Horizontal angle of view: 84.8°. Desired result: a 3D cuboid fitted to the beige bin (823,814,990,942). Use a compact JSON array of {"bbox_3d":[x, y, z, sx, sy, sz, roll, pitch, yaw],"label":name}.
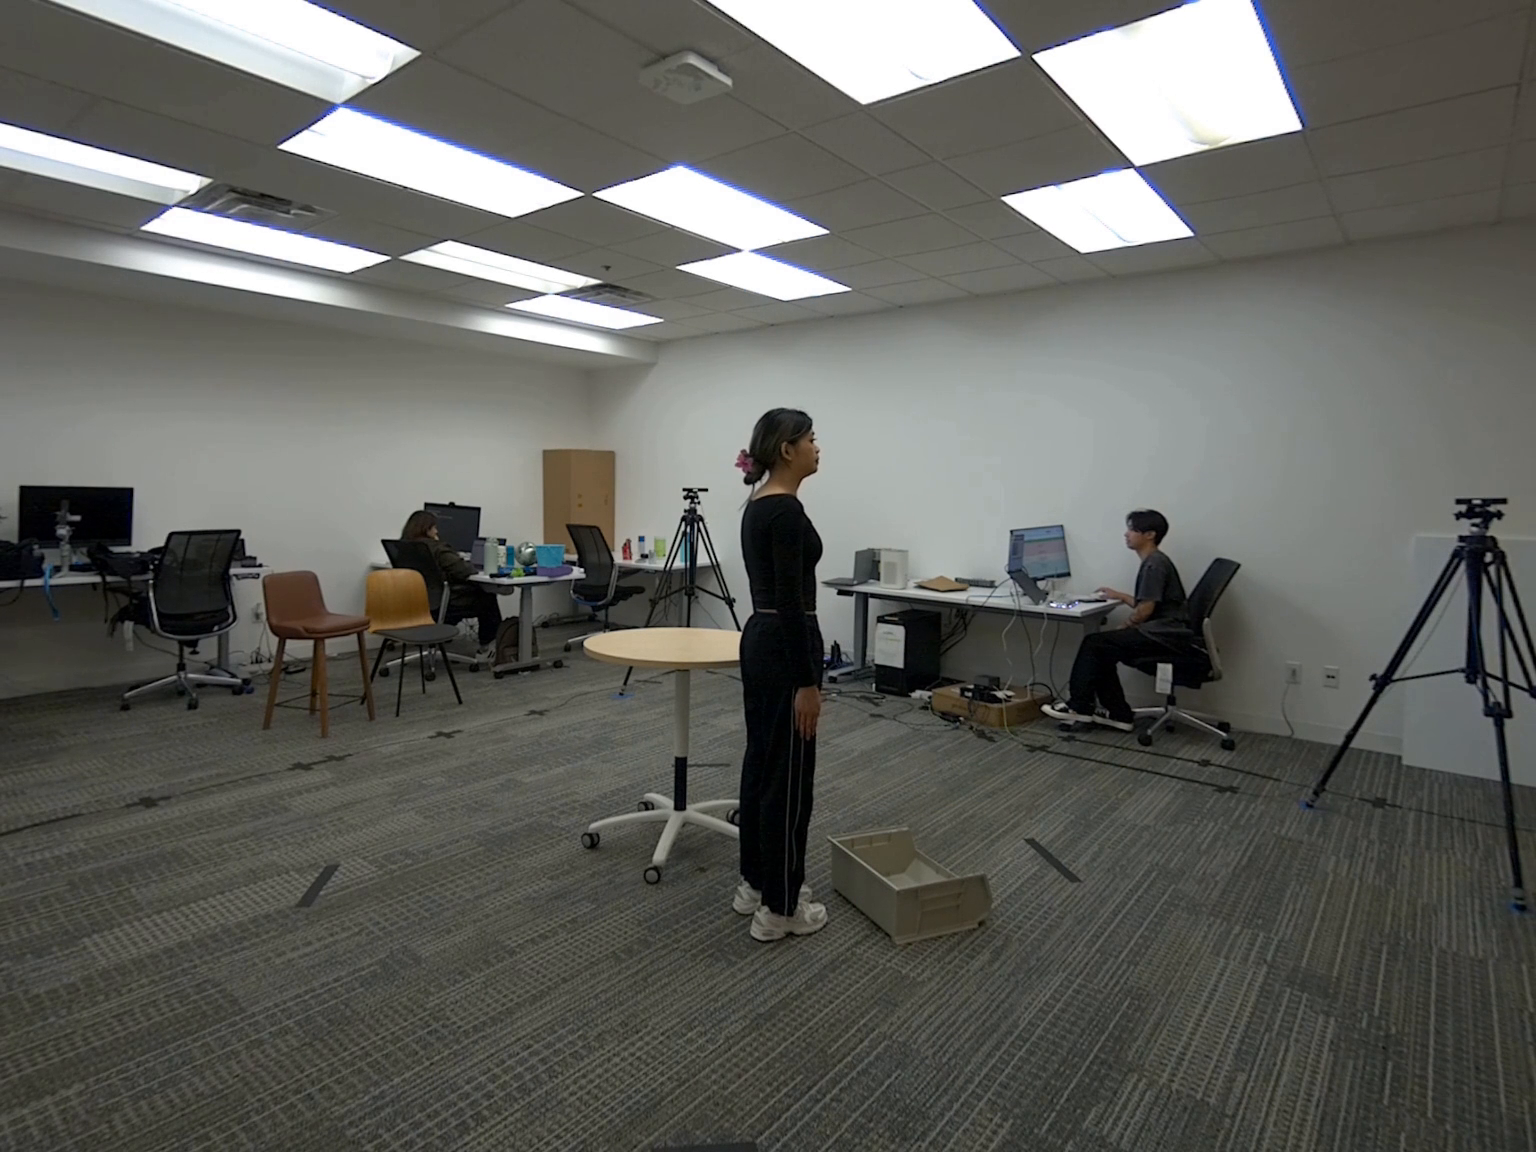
[{"bbox_3d":[0.458,1.007,2.864,0.369,0.188,0.434,-2,6,-25],"label":"beige bin"}]
